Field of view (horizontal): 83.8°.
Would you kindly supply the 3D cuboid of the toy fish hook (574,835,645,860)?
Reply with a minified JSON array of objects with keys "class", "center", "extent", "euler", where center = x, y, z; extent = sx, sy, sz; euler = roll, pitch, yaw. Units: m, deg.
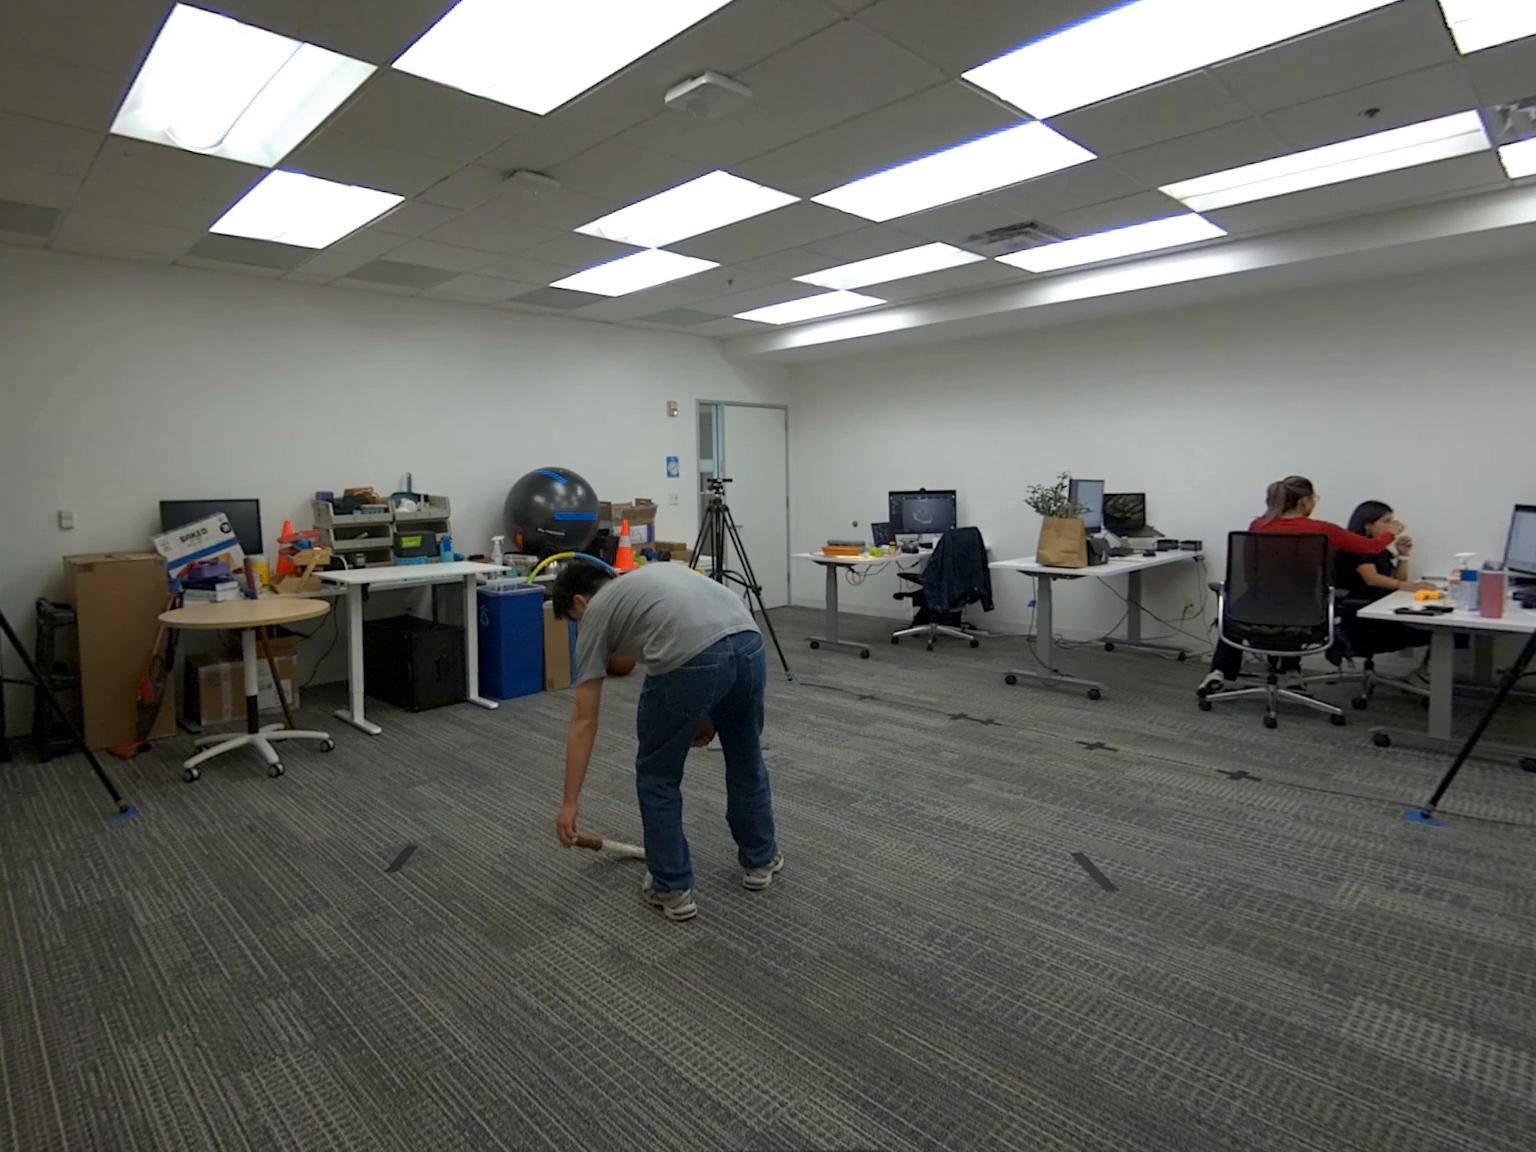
[{"class":"toy fish hook","center":[-0.524,0.945,2.981],"extent":[0.229,0.049,0.490],"euler":[1,-20,19]}]
